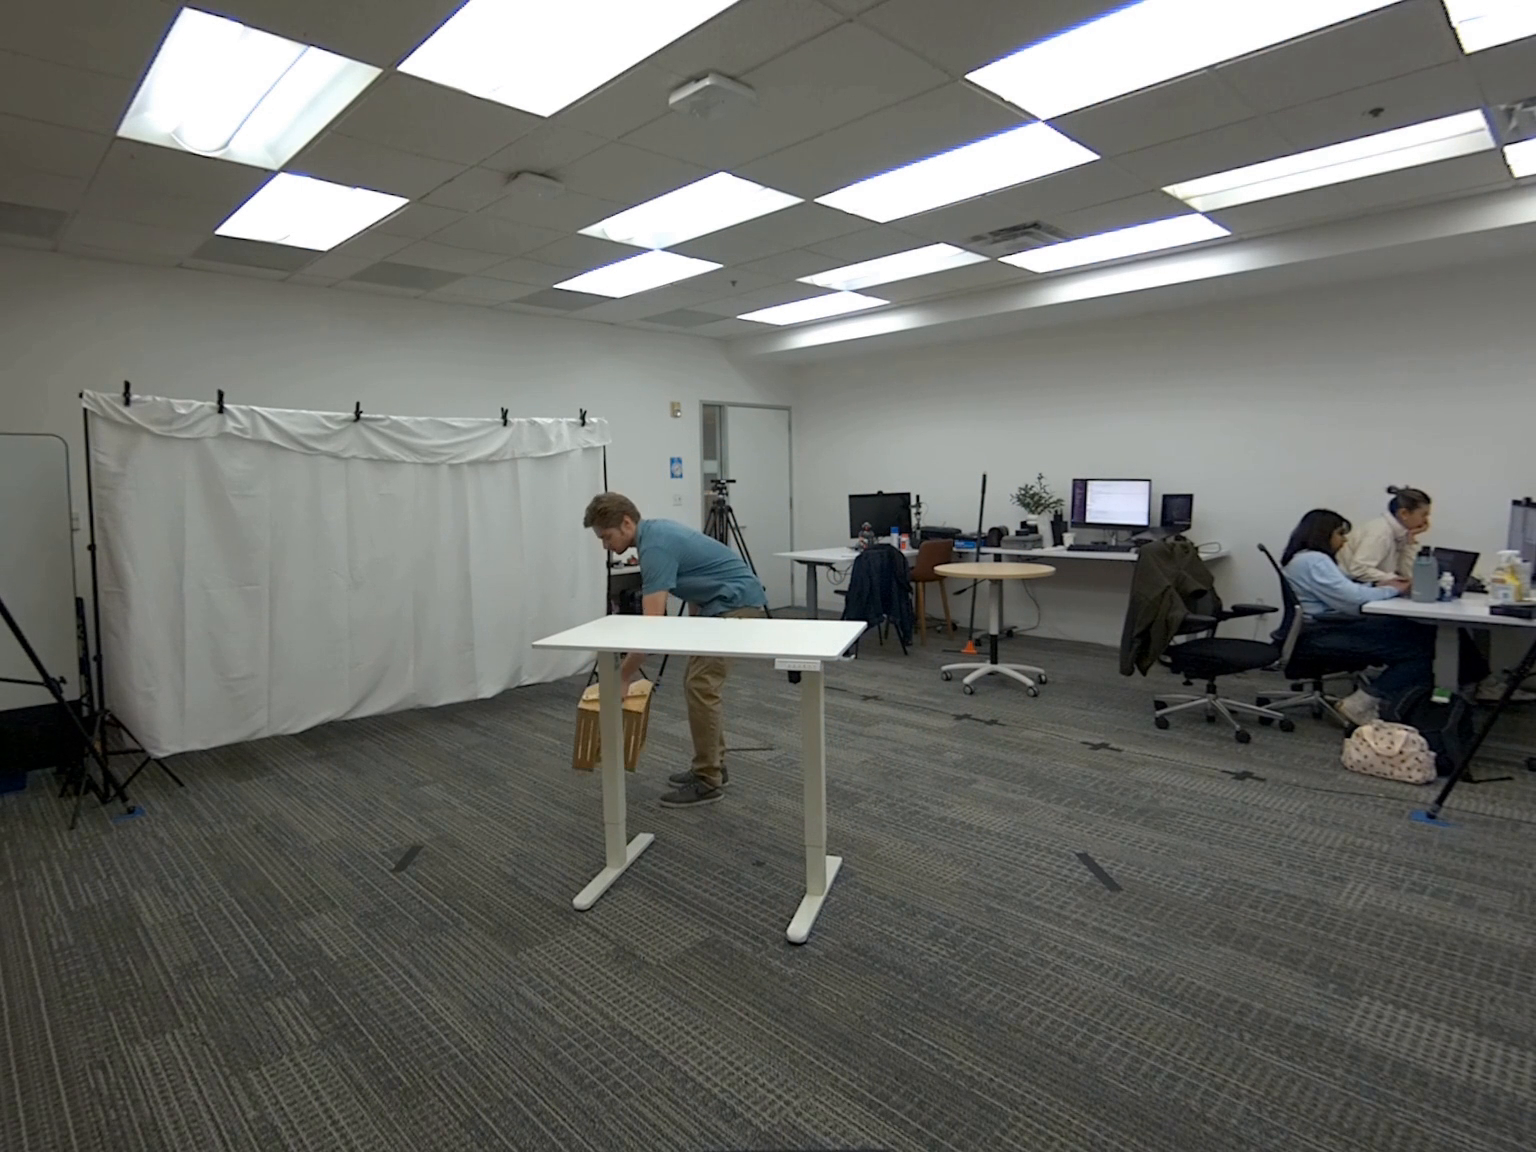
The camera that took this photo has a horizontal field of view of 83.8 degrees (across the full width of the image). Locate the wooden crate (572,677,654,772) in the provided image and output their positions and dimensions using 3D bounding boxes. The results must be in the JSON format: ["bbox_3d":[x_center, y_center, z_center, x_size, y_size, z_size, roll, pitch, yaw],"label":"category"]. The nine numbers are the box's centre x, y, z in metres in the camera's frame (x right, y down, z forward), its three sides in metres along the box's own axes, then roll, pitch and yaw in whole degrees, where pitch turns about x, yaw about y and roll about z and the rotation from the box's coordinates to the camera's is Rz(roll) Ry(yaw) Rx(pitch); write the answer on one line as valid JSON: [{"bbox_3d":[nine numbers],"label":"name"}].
[{"bbox_3d":[-0.670,0.629,3.632,0.274,0.320,0.306,10,21,1],"label":"wooden crate"}]
